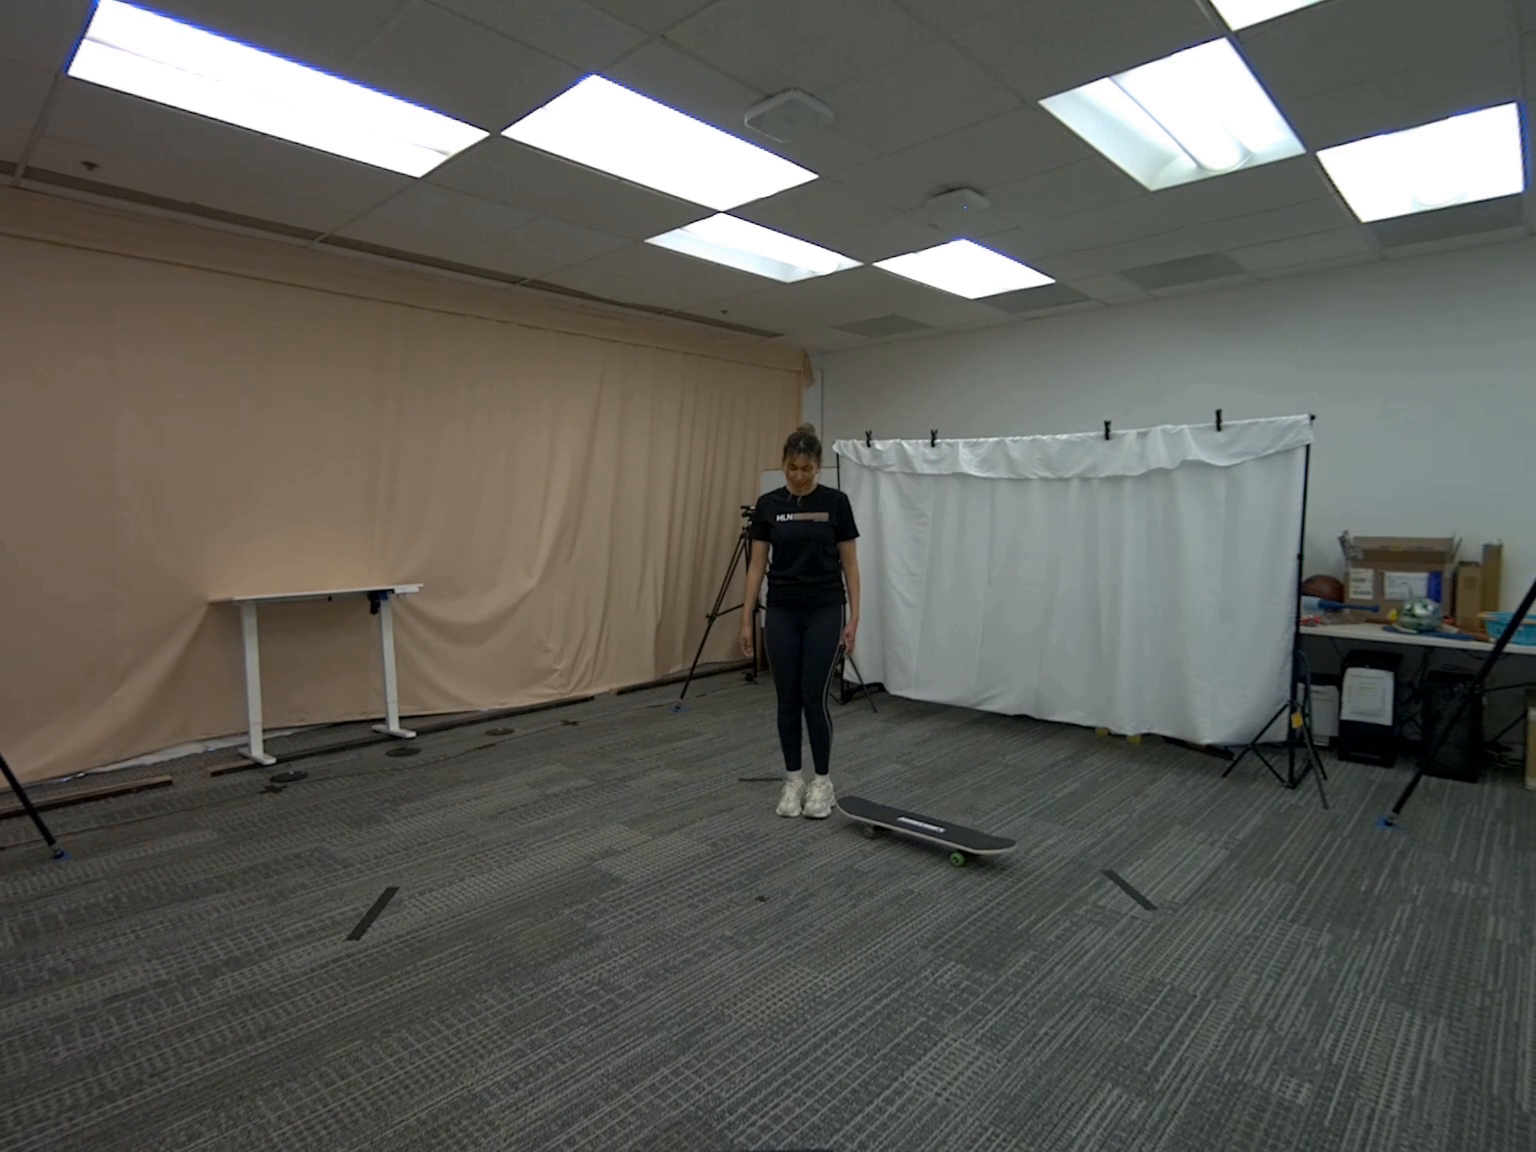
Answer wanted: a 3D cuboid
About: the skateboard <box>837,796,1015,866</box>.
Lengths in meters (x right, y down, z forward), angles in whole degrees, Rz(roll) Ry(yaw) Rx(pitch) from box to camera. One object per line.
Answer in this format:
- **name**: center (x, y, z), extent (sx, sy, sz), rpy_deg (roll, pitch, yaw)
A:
- **skateboard**: center (0.634, 1.047, 3.441), extent (0.811, 0.110, 0.187), rpy_deg (4, 6, 41)
